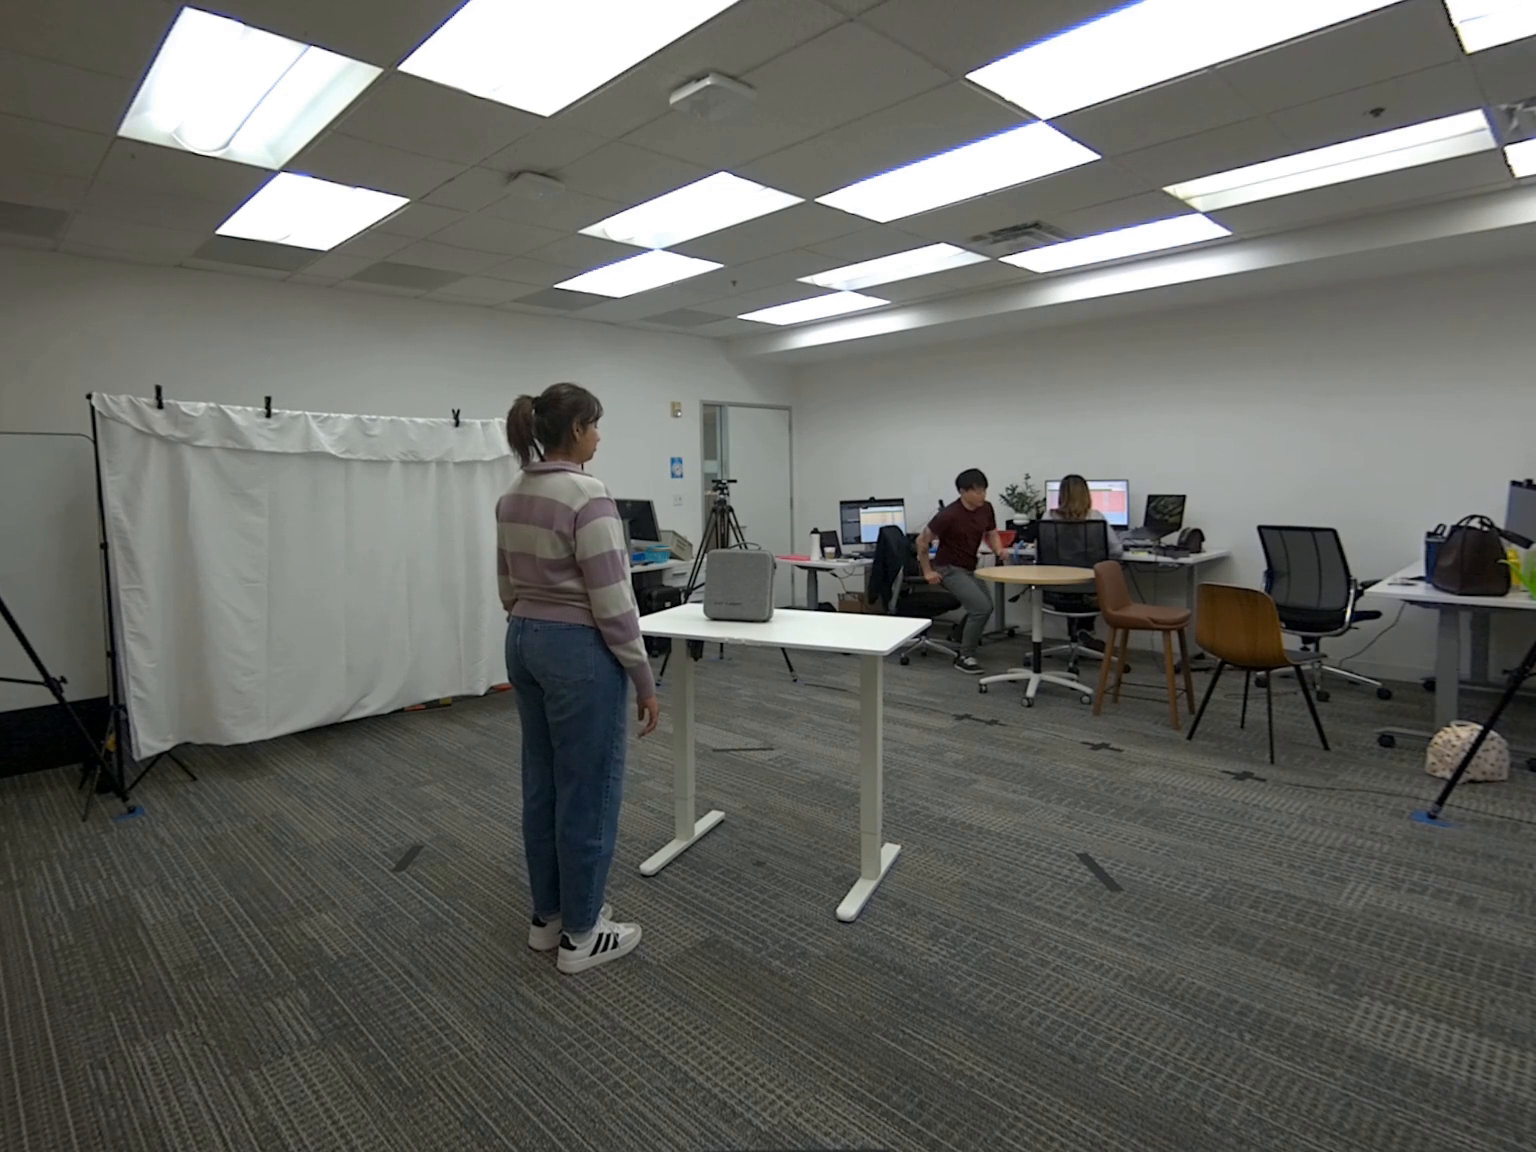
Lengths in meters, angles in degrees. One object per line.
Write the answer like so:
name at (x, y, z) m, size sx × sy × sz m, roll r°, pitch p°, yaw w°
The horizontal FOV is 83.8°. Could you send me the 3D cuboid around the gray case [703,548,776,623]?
gray case at (-0.103, 0.031, 3.130) m, size 0.261 × 0.262 × 0.102 m, roll 2°, pitch -5°, yaw 17°
